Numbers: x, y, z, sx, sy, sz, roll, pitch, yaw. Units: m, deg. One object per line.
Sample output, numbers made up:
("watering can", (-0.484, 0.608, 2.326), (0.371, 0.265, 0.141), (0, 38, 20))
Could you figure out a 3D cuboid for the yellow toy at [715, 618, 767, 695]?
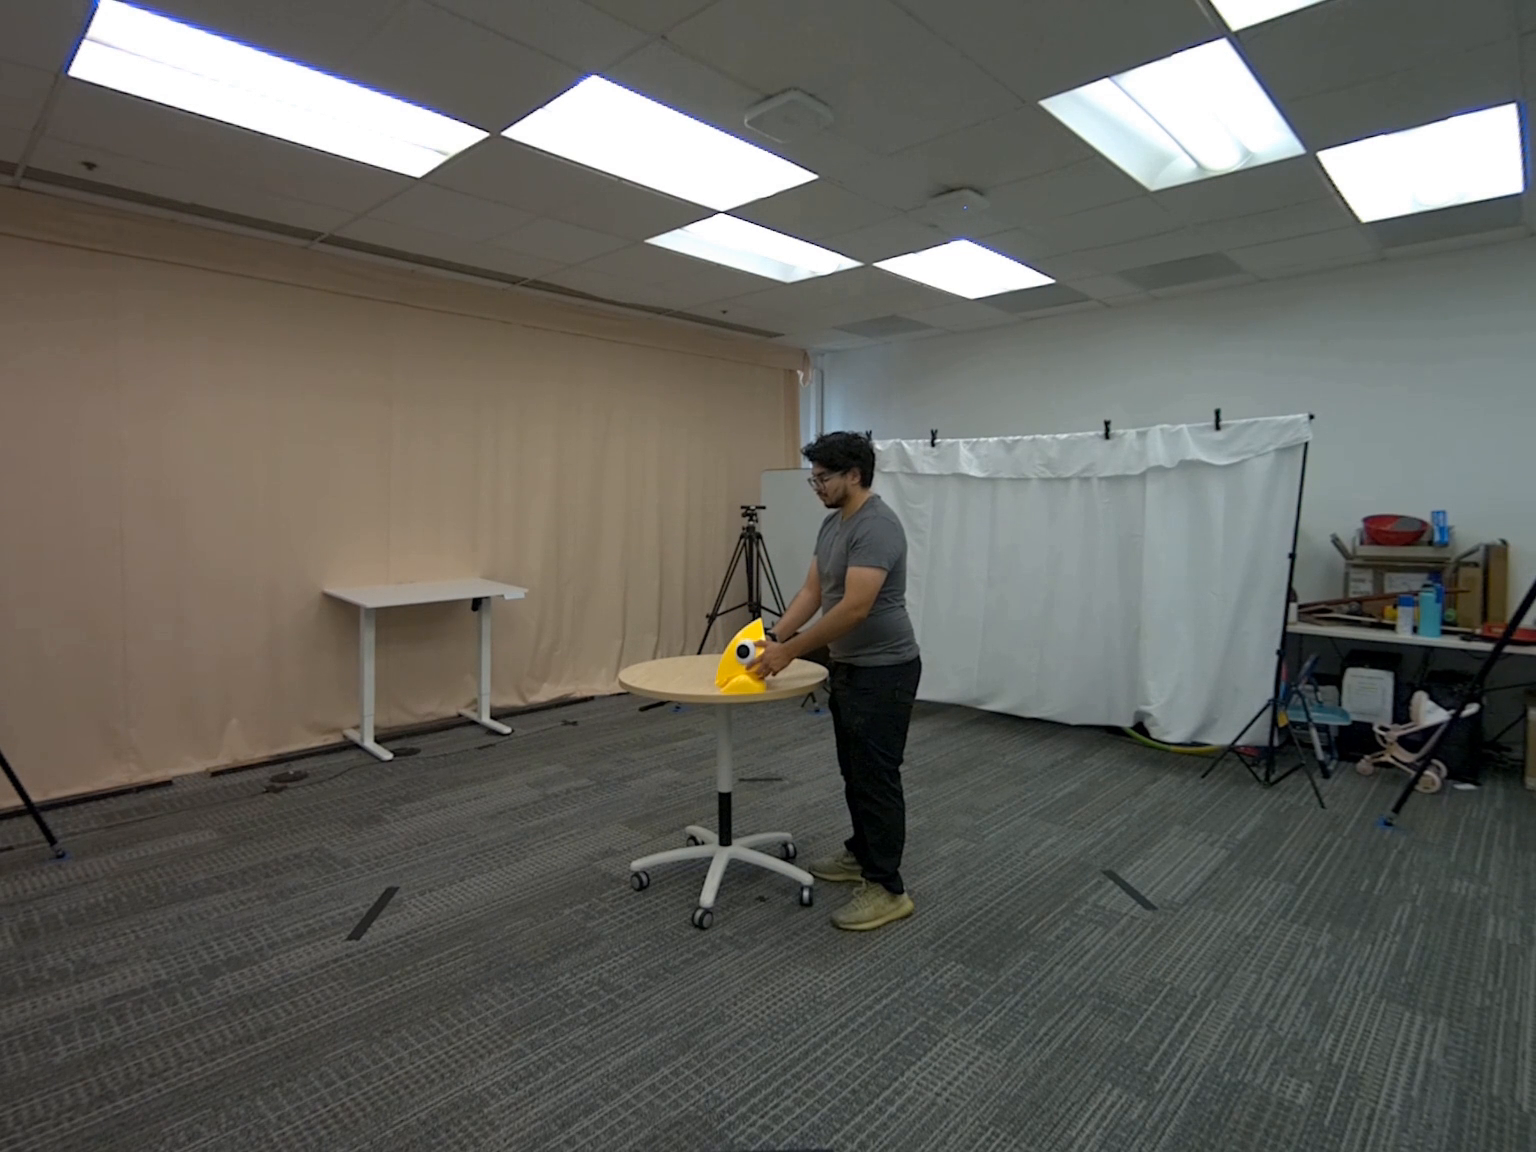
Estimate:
("yellow toy", (-0.077, 0.260, 2.813), (0.191, 0.230, 0.207), (-2, 2, -11))
